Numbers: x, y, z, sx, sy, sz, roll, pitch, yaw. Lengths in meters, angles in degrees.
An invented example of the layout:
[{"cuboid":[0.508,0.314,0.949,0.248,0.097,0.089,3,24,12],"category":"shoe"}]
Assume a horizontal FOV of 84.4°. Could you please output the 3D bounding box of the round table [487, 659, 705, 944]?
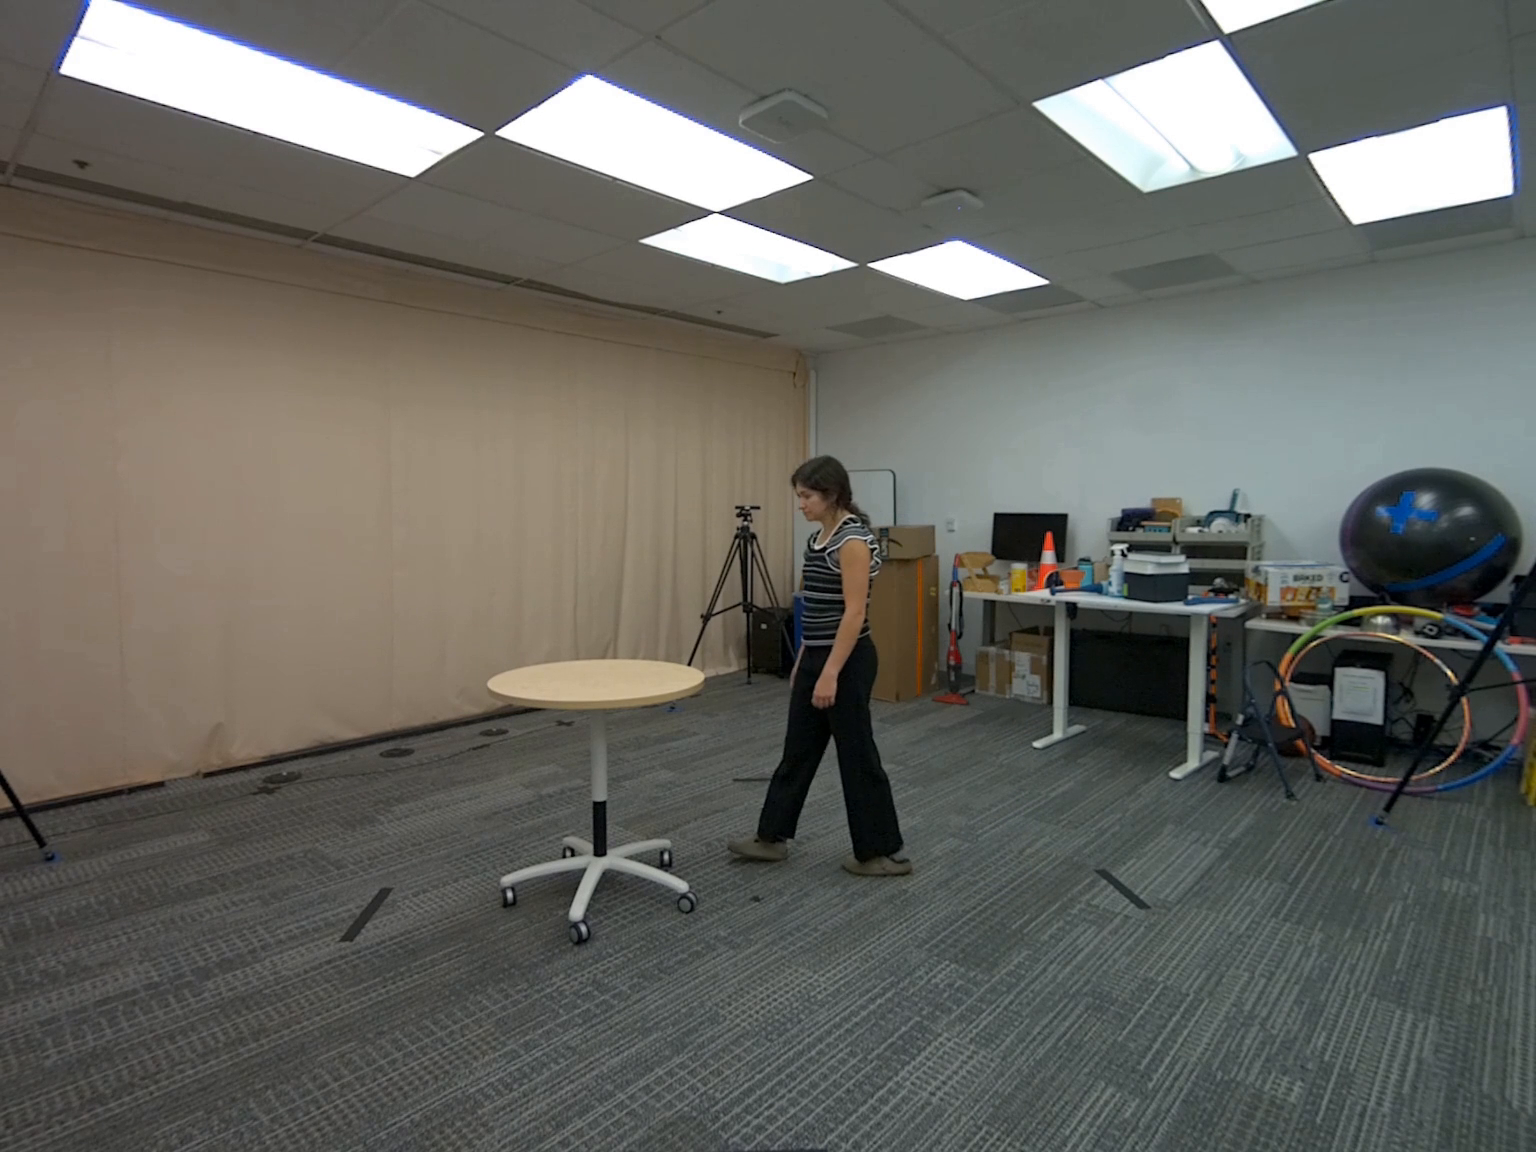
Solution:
[{"cuboid":[-0.604,0.753,3.036,0.784,0.785,0.788,0,4,-2],"category":"round table"}]
